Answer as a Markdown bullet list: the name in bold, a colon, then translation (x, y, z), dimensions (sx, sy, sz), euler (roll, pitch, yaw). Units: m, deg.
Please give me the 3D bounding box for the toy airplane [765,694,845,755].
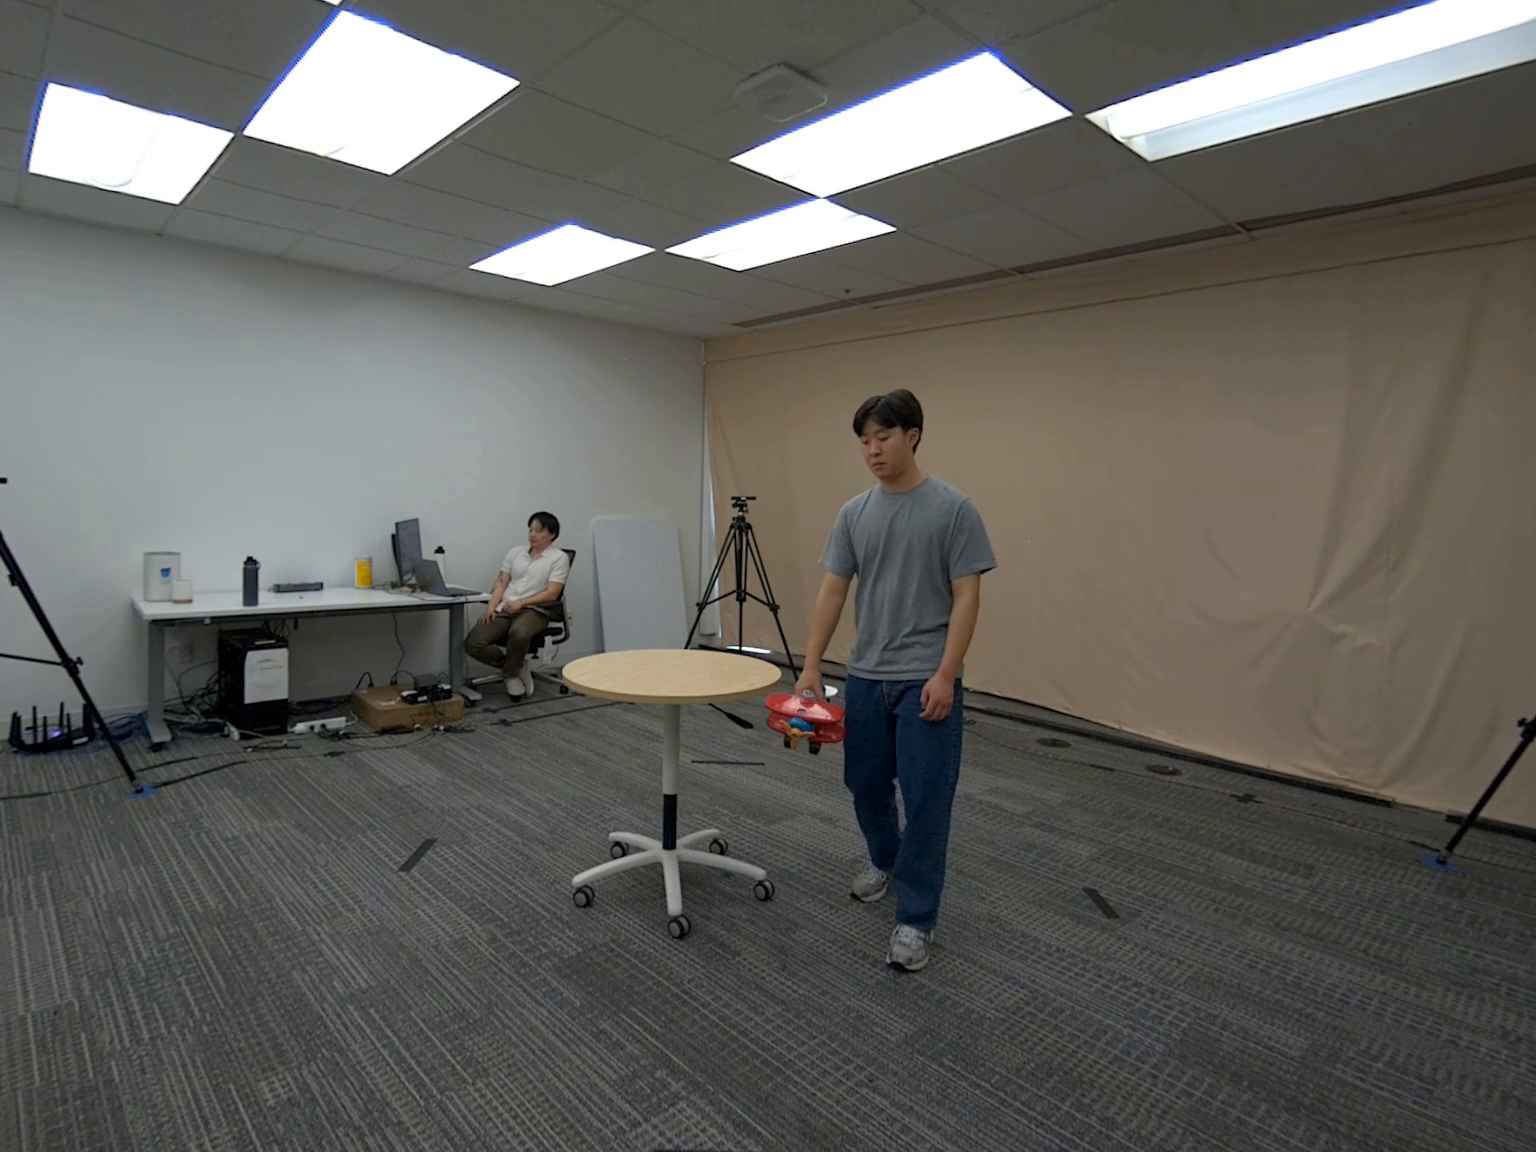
- **toy airplane**: translation (0.104, 0.425, 2.695), dimensions (0.251, 0.152, 0.266), euler (-12, 44, 2)
